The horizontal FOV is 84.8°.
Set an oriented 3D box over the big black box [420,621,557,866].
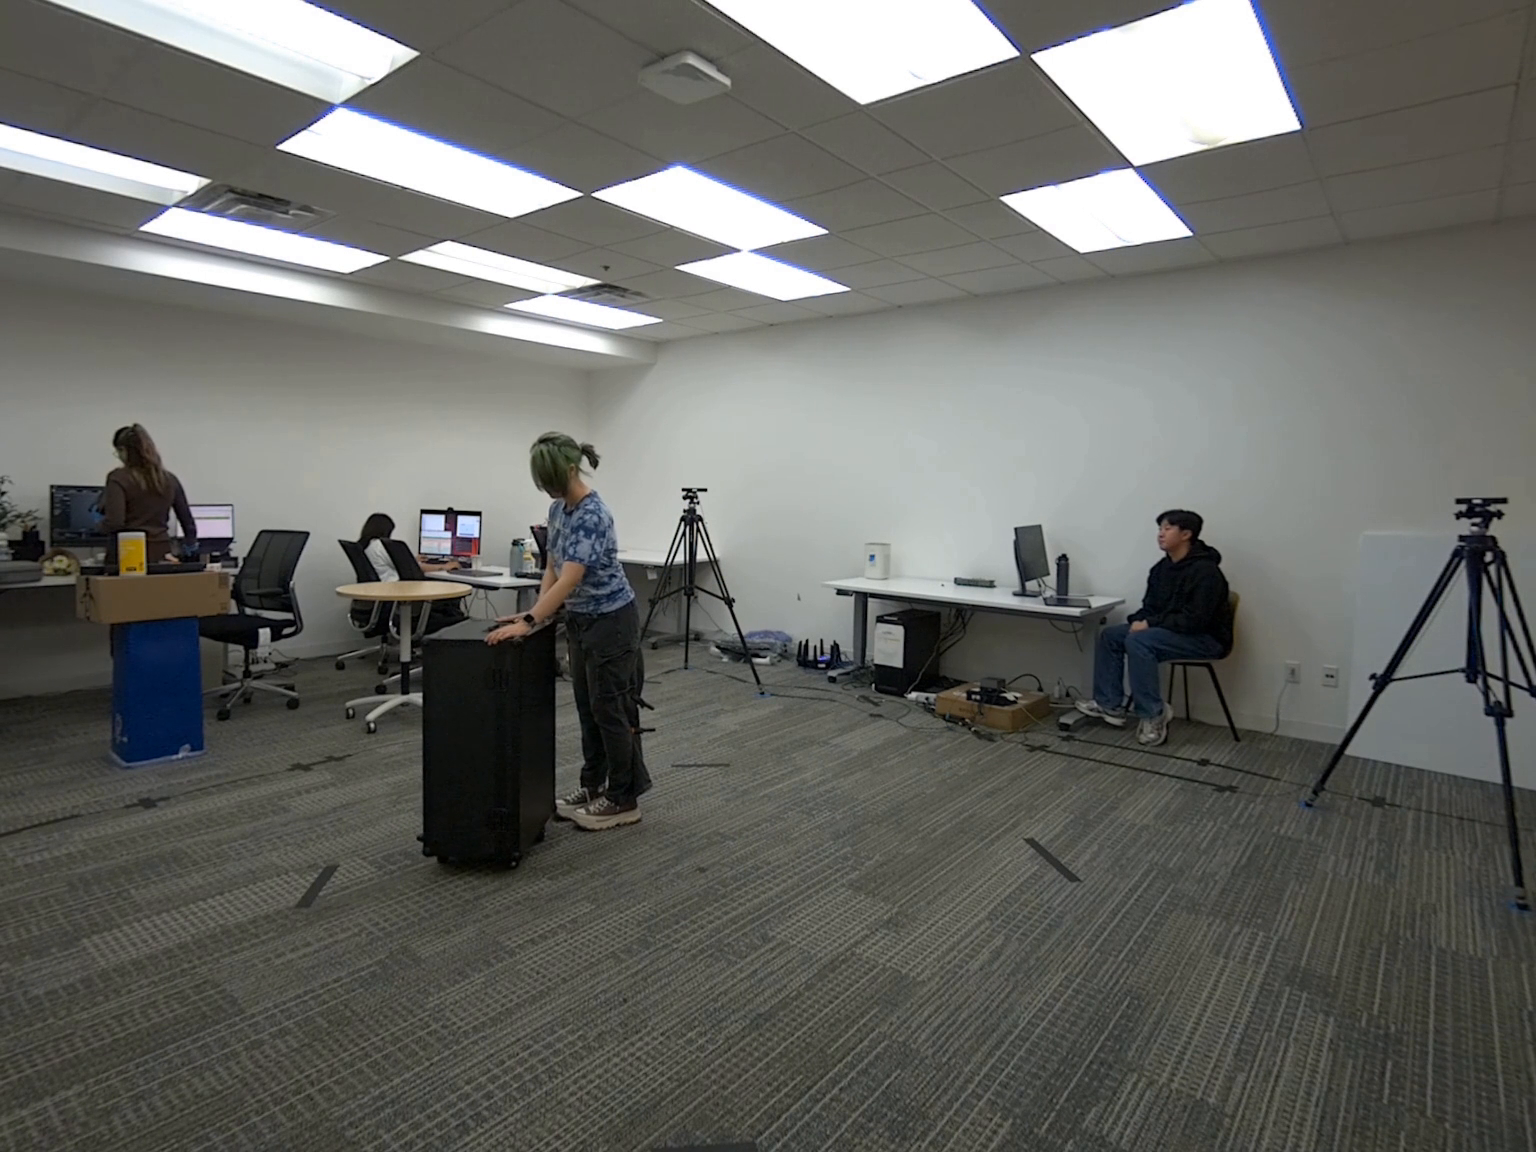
[{"bbox_3d":[-1.068,0.619,3.220,0.398,0.859,0.520,0,3,3],"label":"big black box"}]
